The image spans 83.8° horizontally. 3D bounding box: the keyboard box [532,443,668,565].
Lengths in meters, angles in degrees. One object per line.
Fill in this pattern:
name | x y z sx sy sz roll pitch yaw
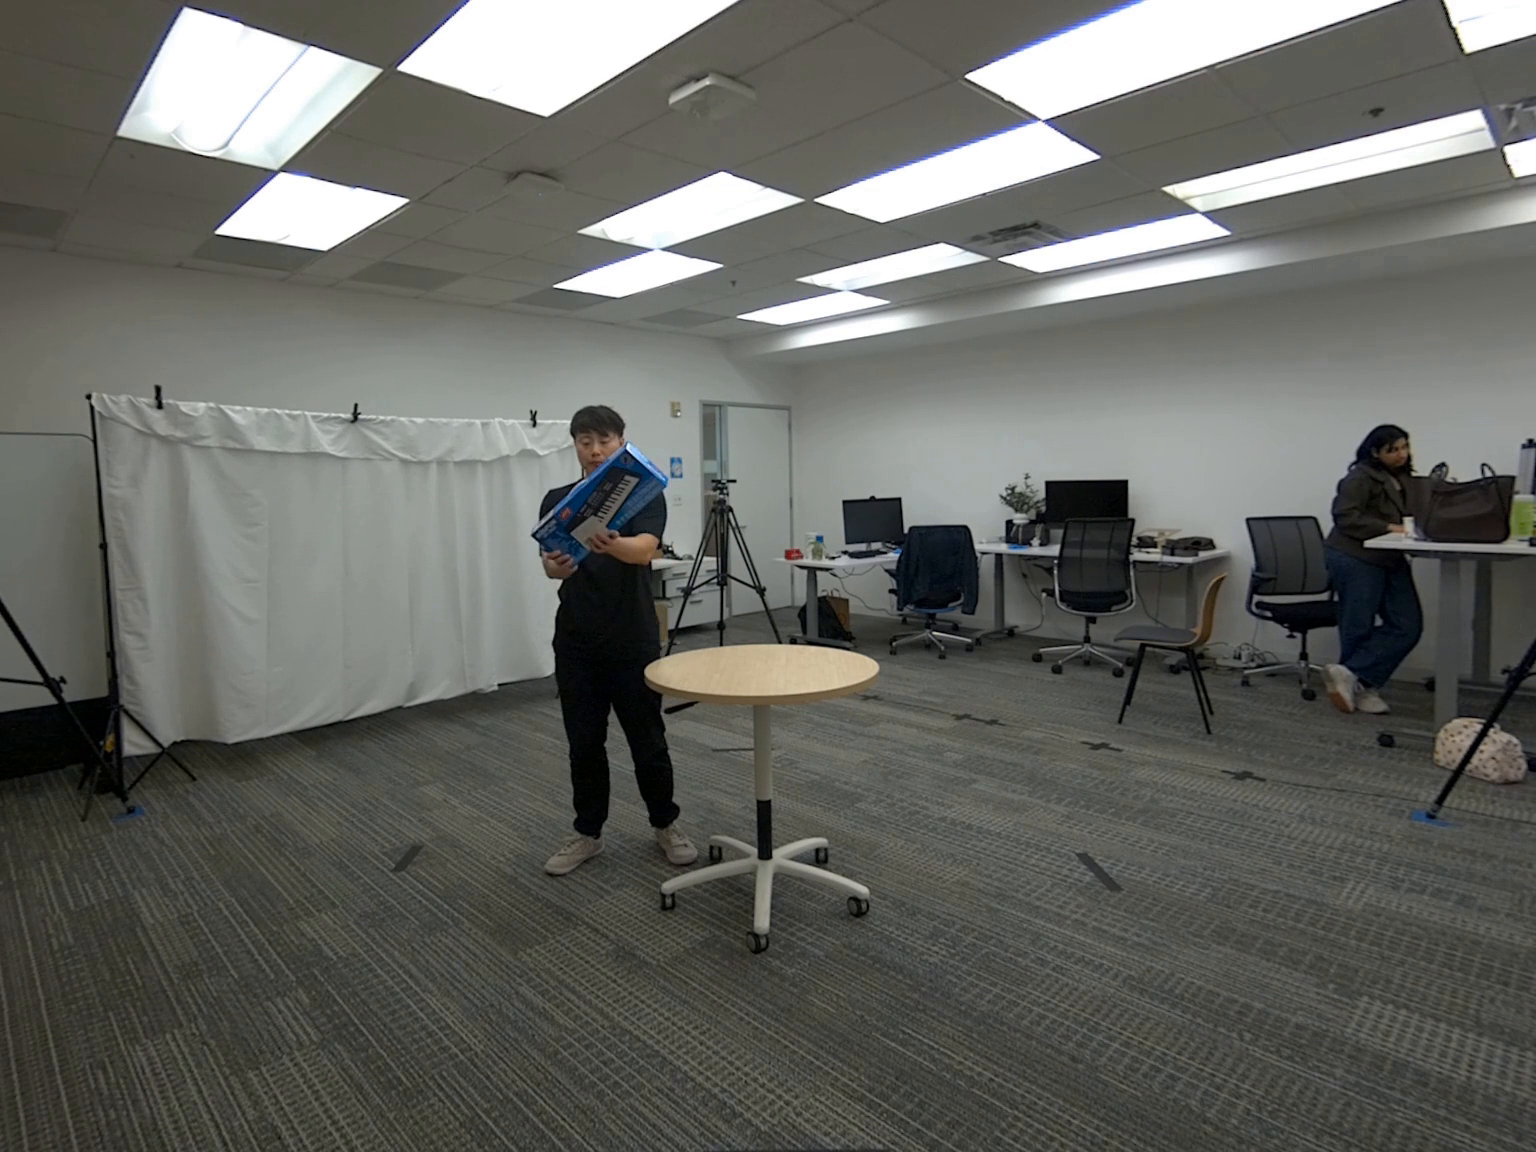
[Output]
keyboard box | -0.527 -0.202 2.621 0.438 0.171 0.060 -37 23 22
